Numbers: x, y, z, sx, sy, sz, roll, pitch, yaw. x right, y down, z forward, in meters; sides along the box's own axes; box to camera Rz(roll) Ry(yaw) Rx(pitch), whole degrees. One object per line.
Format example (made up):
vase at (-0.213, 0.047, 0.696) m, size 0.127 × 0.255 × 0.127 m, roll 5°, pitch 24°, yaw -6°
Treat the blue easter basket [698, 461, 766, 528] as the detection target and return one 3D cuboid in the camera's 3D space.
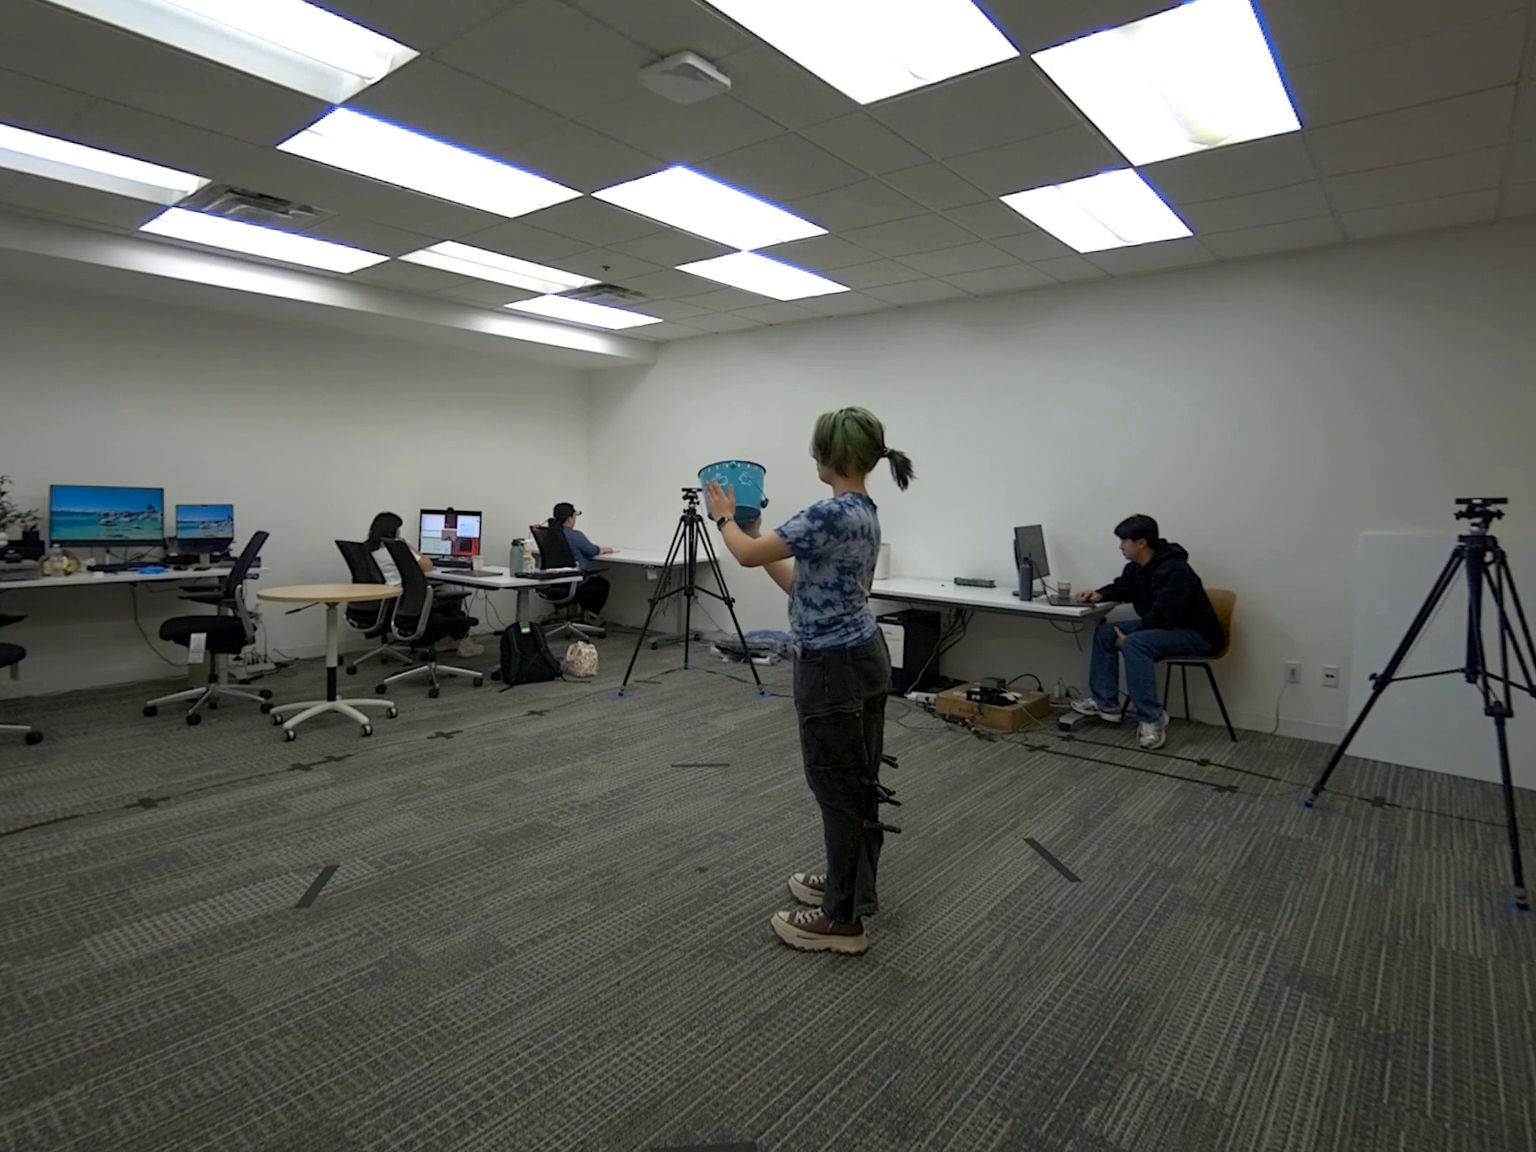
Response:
blue easter basket at (-0.122, -0.280, 2.882) m, size 0.243 × 0.158 × 0.240 m, roll -2°, pitch -15°, yaw -2°
